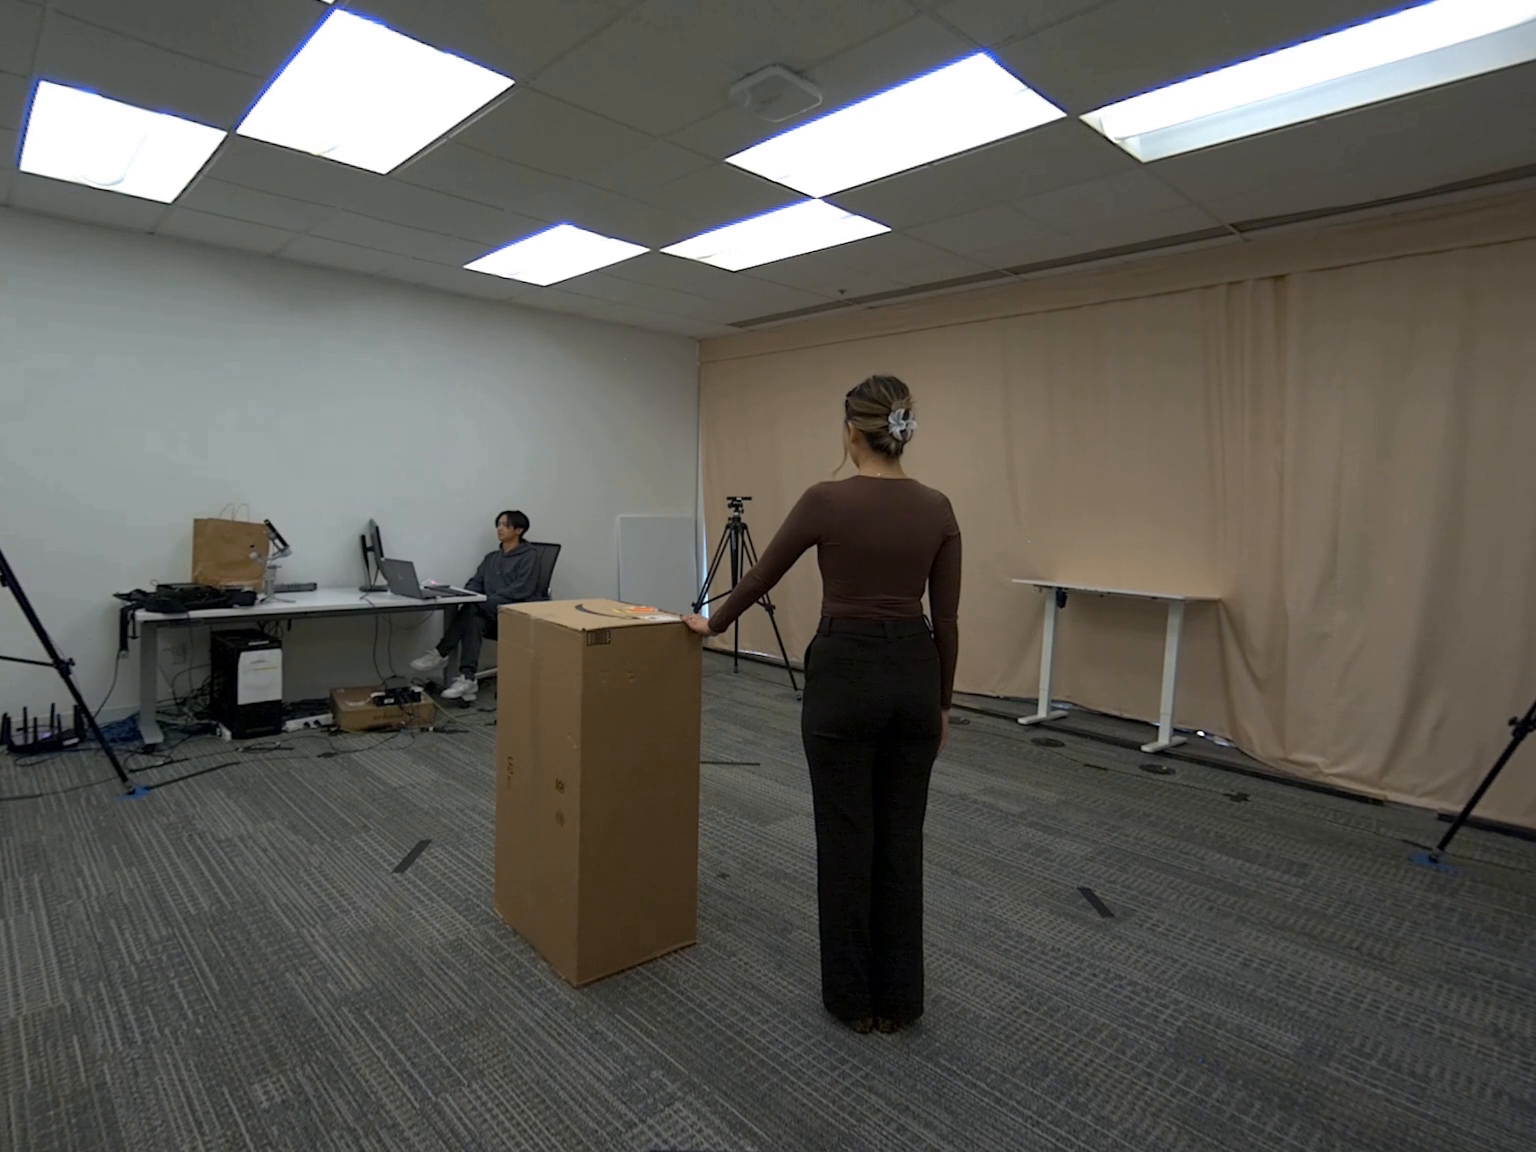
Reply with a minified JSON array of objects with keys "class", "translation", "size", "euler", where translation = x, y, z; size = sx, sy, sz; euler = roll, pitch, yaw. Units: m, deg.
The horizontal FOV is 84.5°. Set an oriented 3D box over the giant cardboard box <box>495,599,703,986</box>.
[{"class":"giant cardboard box","translation":[-0.560,0.625,2.696],"size":[0.436,1.025,0.598],"euler":[0,3,-38]}]
